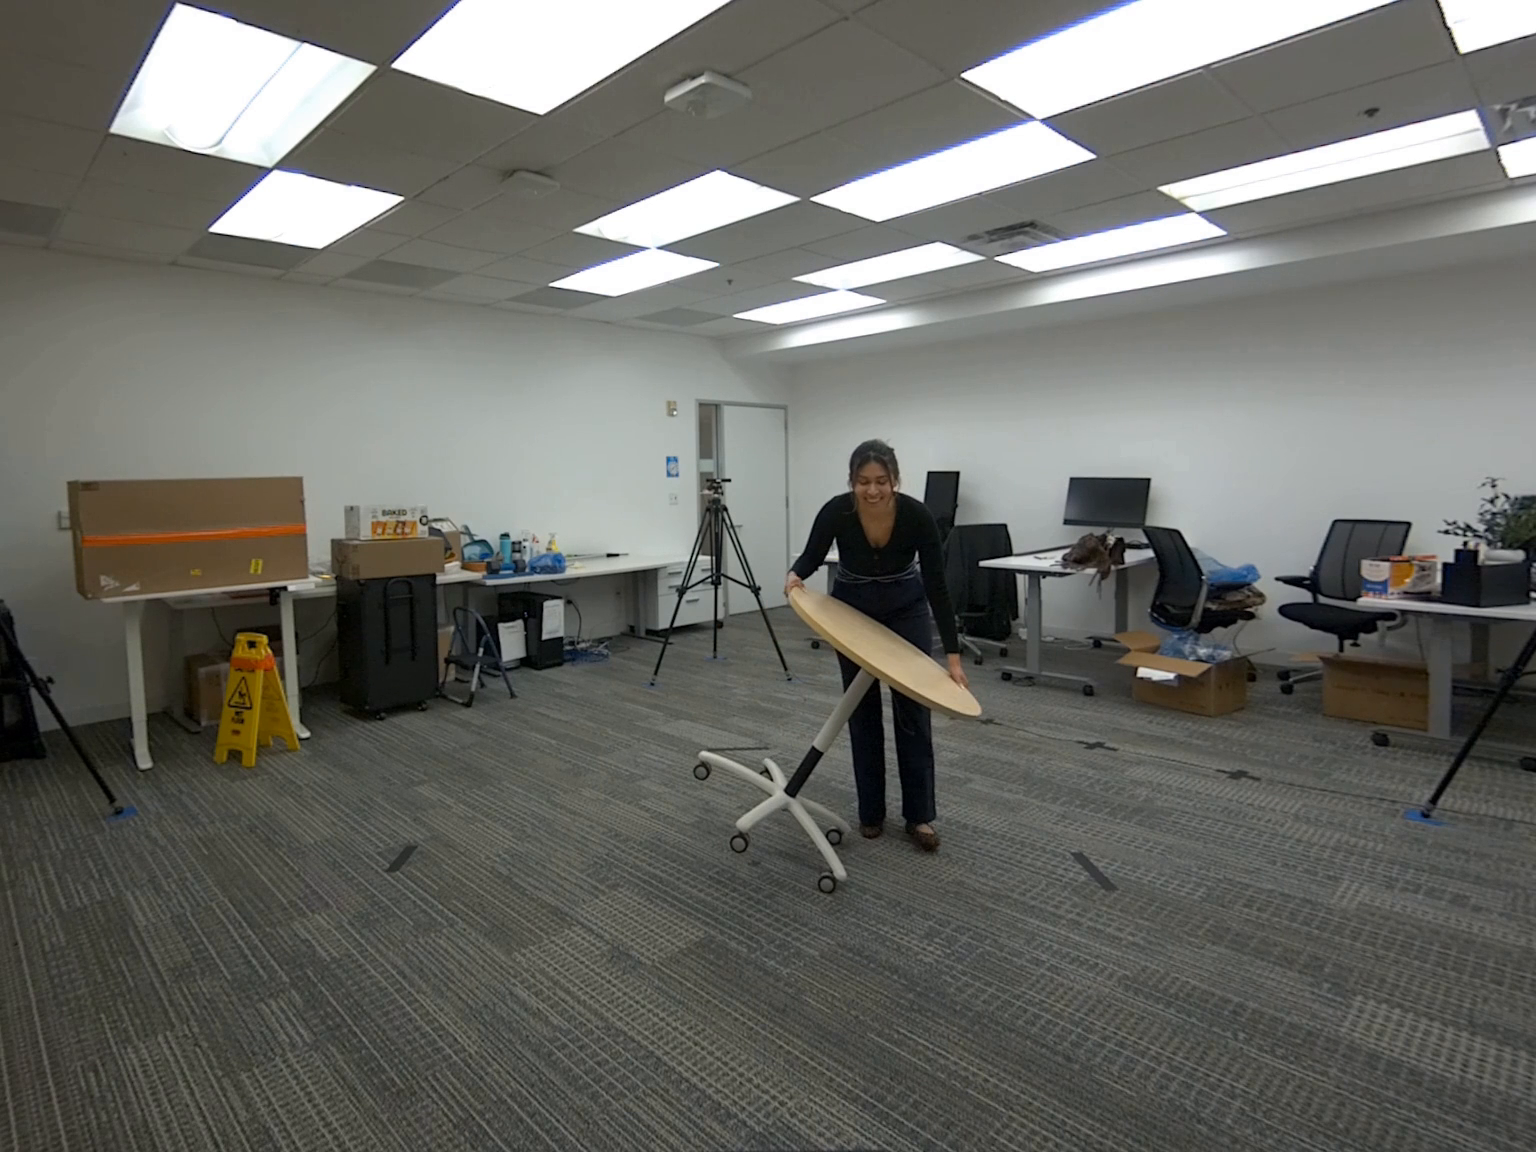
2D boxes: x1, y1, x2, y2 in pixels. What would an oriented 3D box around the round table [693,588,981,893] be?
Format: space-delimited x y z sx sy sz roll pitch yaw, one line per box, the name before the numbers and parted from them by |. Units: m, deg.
round table | 0.200 0.578 3.058 0.758 0.792 0.773 30 10 -7
